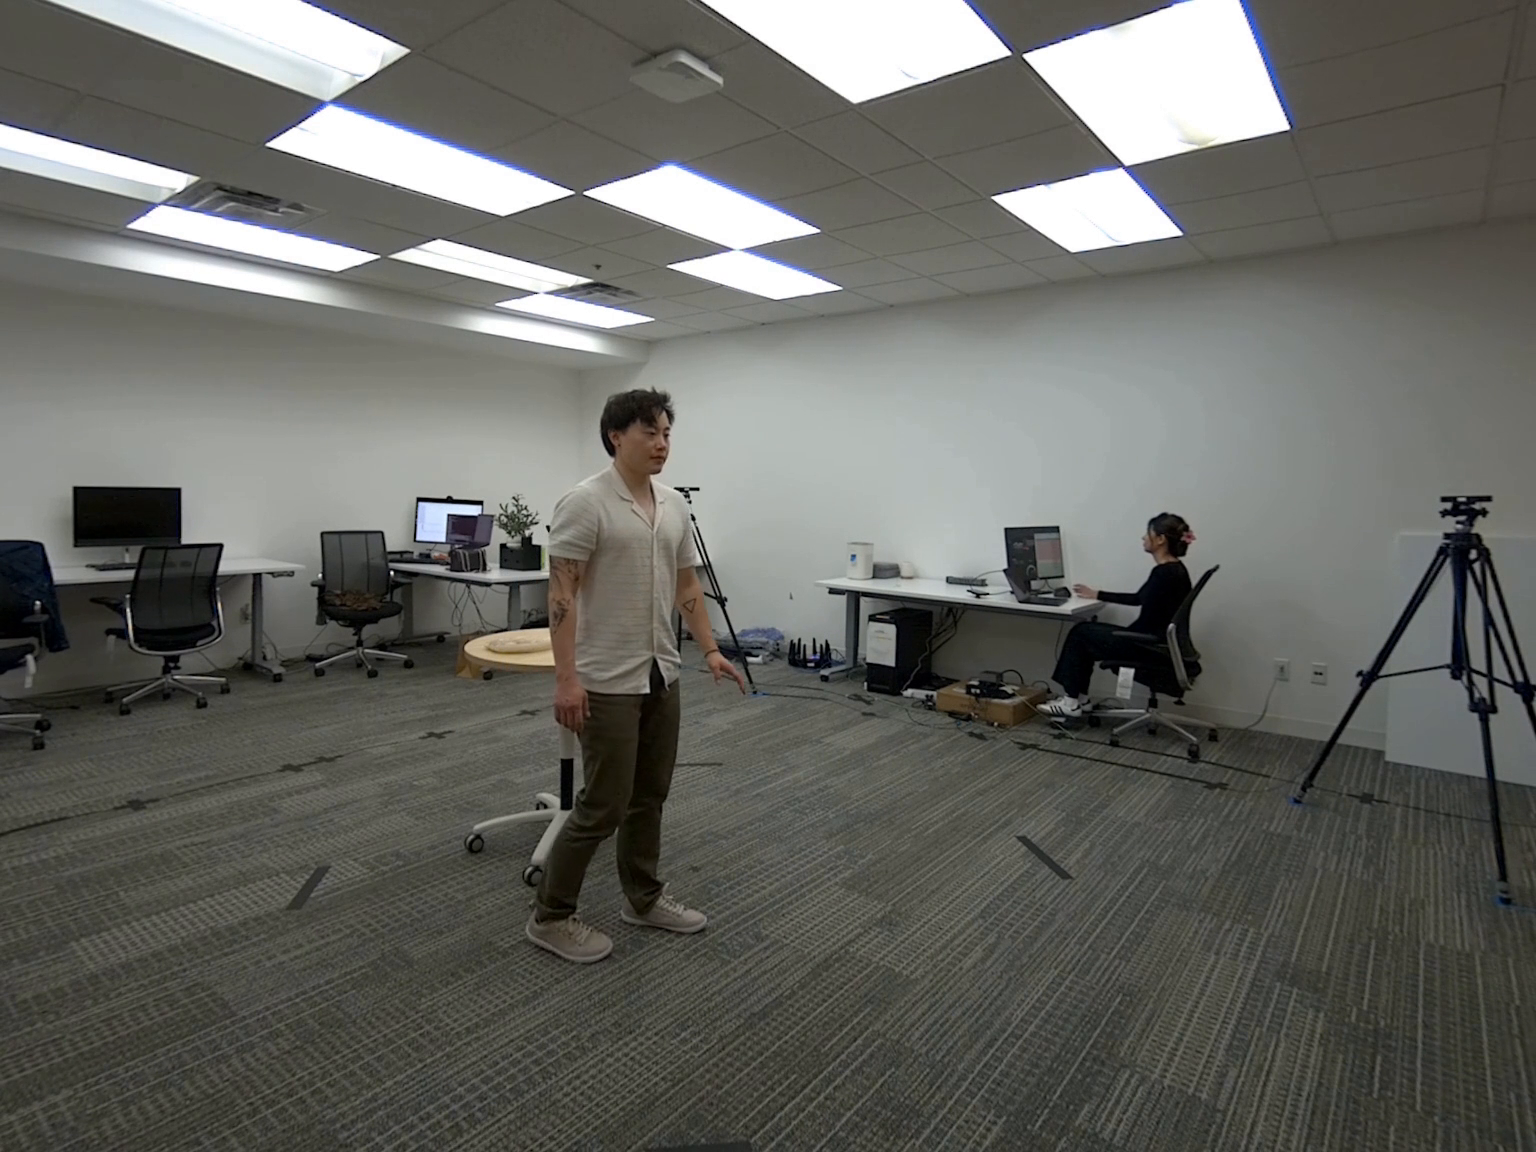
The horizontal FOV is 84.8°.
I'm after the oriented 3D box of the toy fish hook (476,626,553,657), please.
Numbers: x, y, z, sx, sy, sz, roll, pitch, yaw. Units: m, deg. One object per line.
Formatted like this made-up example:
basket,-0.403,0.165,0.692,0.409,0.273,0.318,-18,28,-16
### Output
toy fish hook,-0.846,0.239,3.259,0.491,0.048,0.232,-5,8,-43
